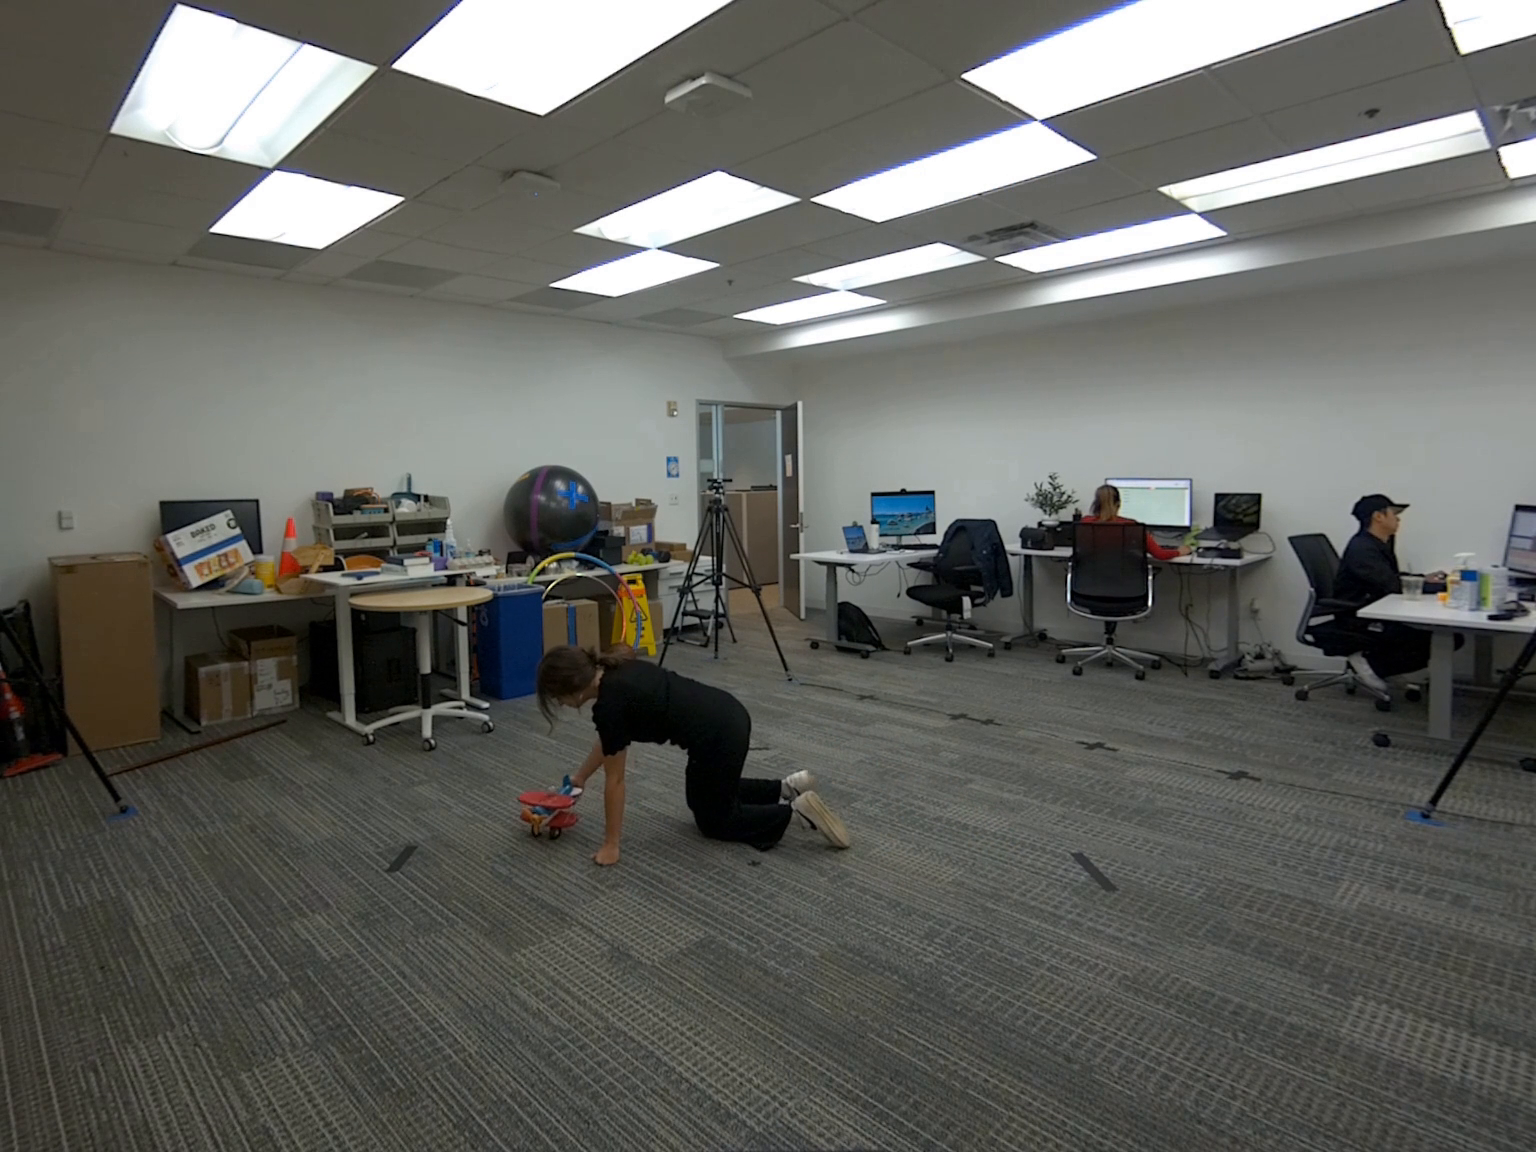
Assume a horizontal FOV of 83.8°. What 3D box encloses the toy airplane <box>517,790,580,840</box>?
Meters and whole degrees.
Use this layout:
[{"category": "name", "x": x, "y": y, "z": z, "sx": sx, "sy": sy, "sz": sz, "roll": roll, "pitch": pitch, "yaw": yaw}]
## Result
[{"category": "toy airplane", "x": -0.874, "y": 0.924, "z": 3.423, "sx": 0.251, "sy": 0.152, "sz": 0.266, "roll": -14, "pitch": 28, "yaw": -3}]
